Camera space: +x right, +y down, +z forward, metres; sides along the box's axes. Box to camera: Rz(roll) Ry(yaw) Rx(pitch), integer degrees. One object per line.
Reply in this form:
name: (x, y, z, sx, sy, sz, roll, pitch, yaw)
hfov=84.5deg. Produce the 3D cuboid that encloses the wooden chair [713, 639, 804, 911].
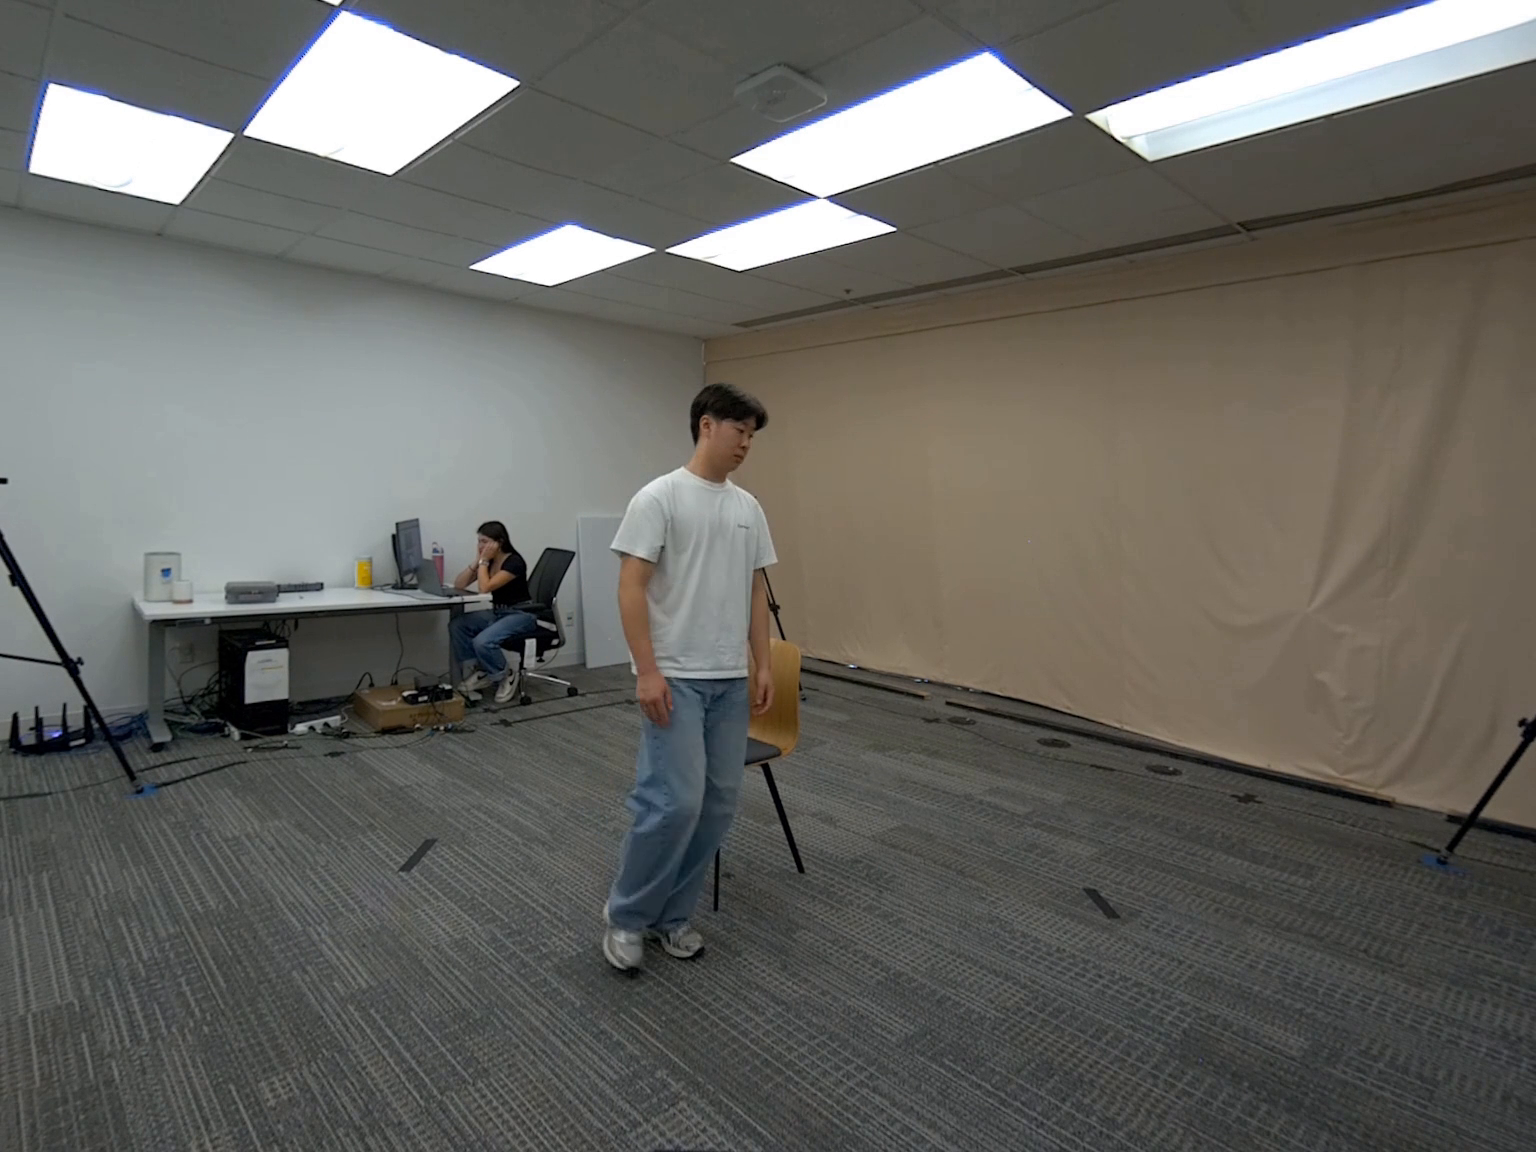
wooden chair: (-0.180, 0.678, 3.108, 0.510, 0.877, 0.490, 4, 0, -45)
